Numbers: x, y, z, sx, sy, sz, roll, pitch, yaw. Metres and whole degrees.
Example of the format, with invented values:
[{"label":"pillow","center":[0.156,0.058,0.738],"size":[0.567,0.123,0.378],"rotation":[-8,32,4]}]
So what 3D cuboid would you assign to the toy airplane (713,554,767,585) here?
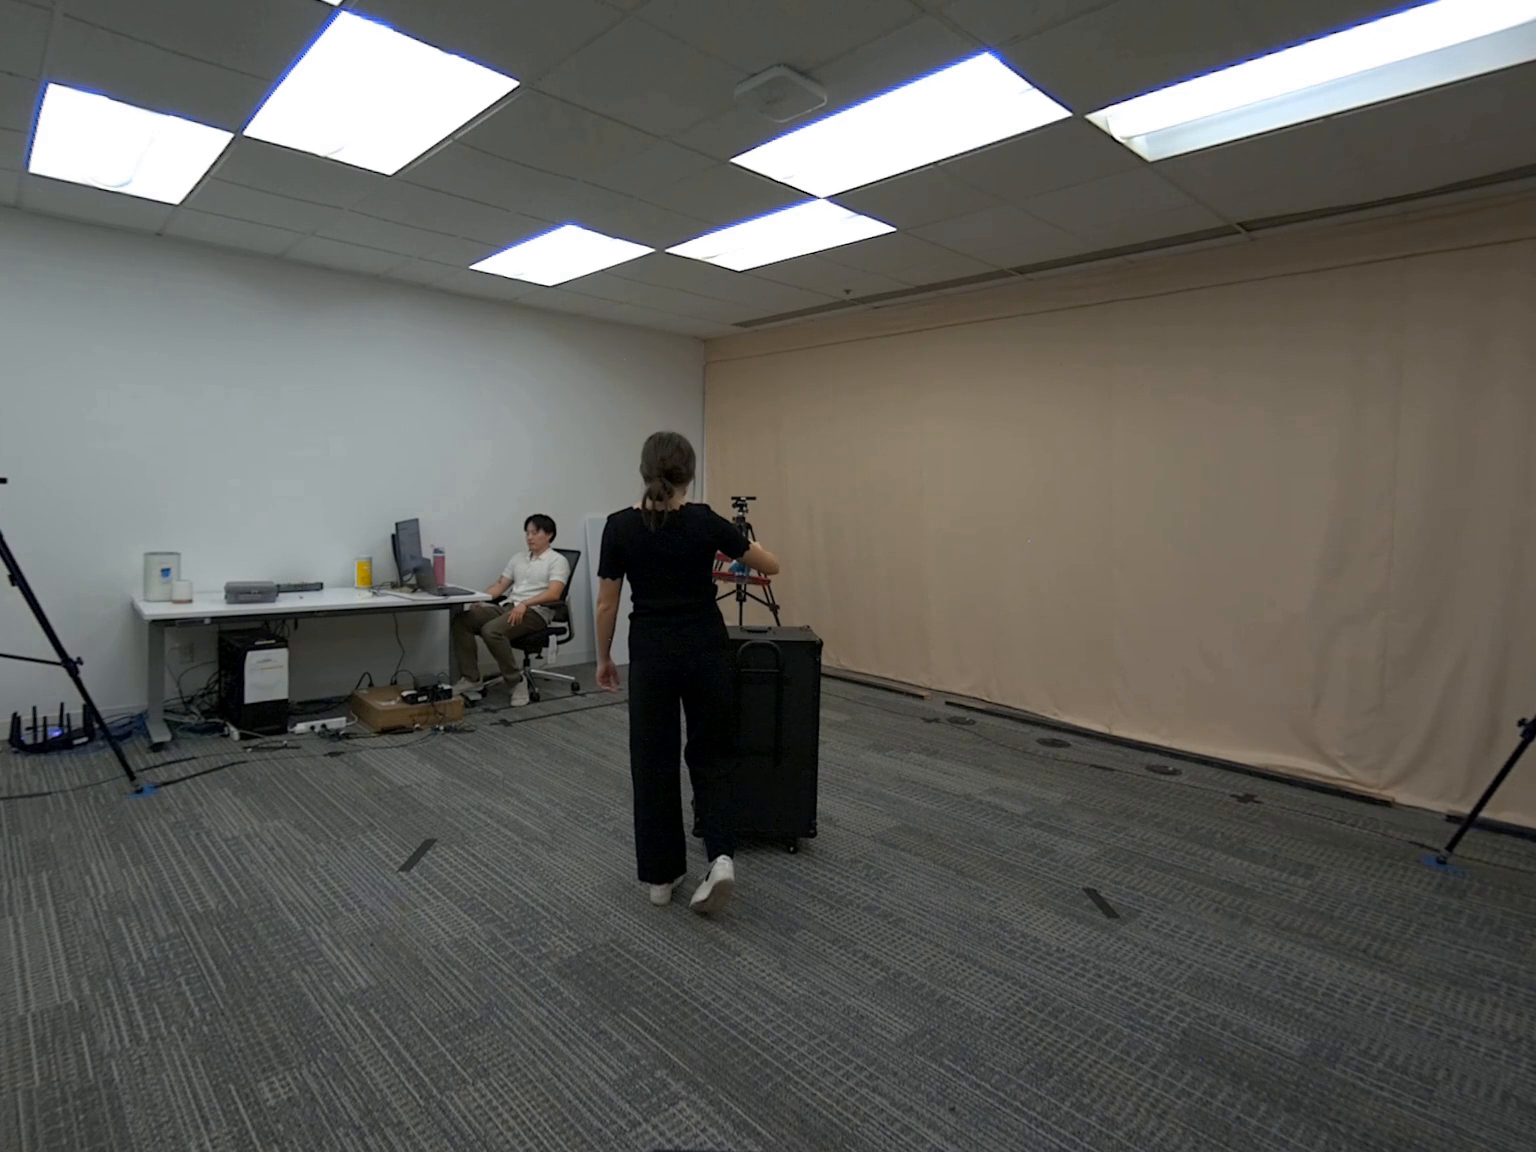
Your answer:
[{"label":"toy airplane","center":[-0.126,-0.056,3.299],"size":[0.255,0.156,0.255],"rotation":[7,0,20]}]
